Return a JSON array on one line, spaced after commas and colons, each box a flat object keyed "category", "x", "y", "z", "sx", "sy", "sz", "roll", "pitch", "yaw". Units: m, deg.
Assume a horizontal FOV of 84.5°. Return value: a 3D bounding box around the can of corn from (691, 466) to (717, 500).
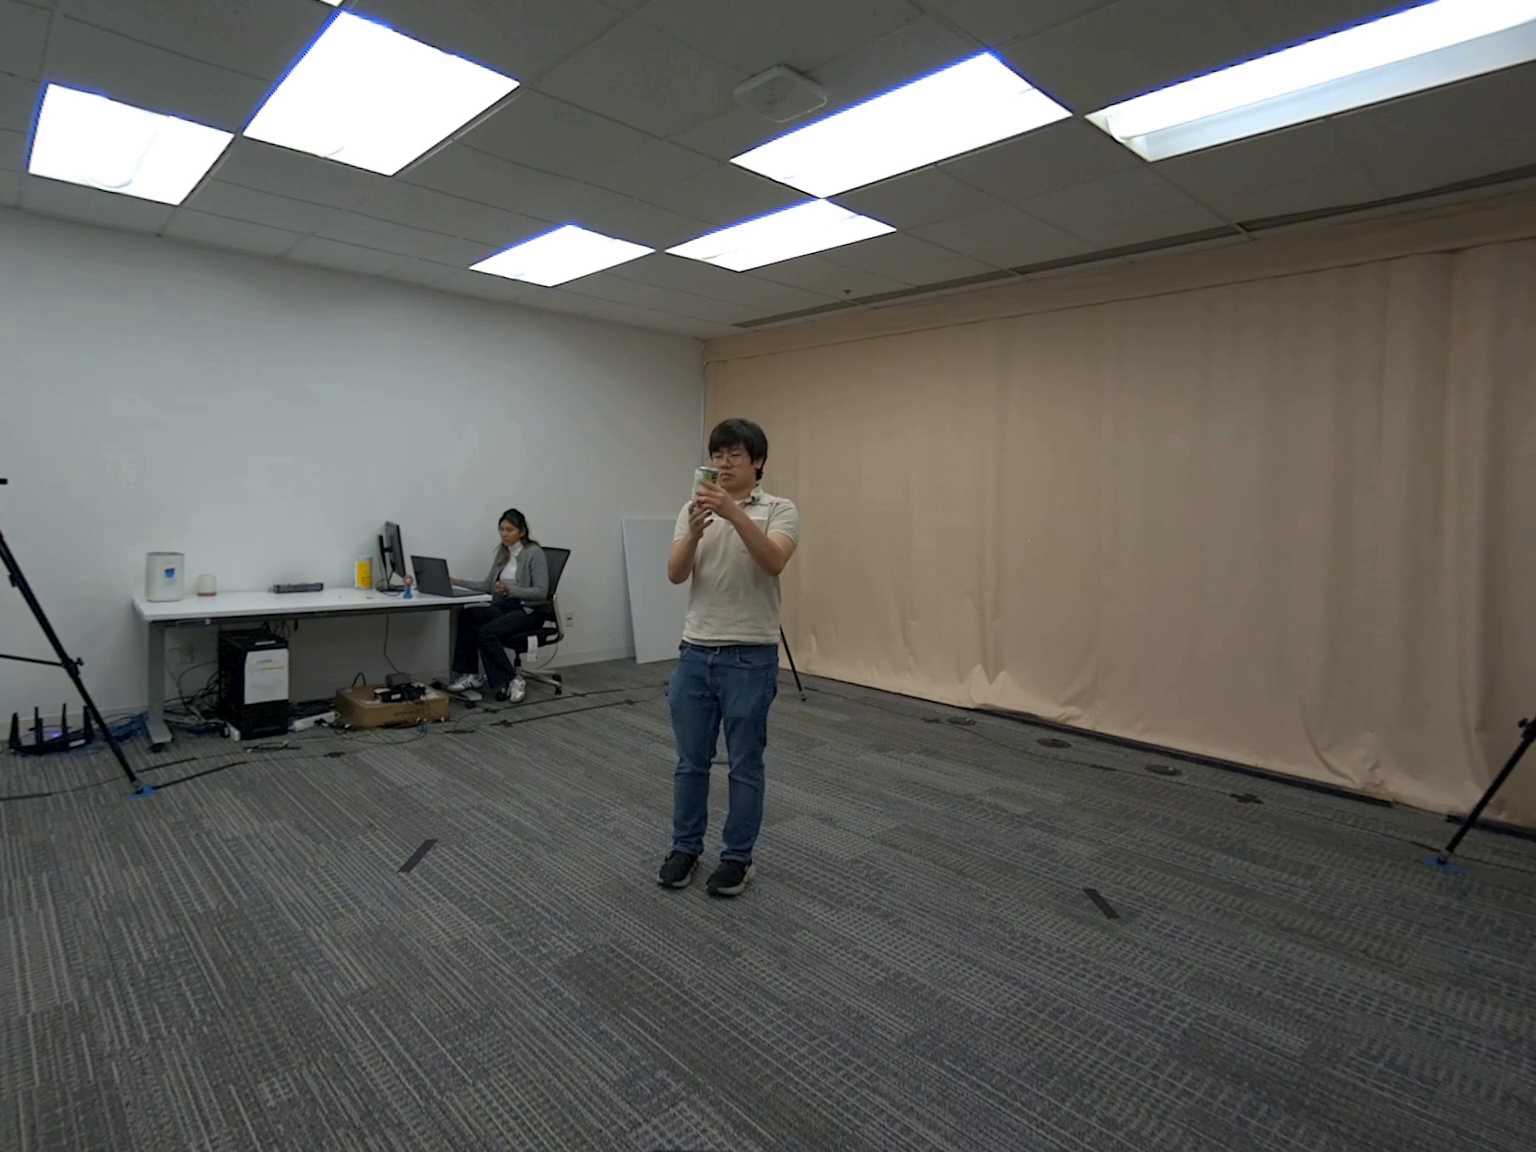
[{"category": "can of corn", "x": -0.214, "y": -0.291, "z": 2.714, "sx": 0.074, "sy": 0.110, "sz": 0.075, "roll": 9, "pitch": 15, "yaw": -4}]
